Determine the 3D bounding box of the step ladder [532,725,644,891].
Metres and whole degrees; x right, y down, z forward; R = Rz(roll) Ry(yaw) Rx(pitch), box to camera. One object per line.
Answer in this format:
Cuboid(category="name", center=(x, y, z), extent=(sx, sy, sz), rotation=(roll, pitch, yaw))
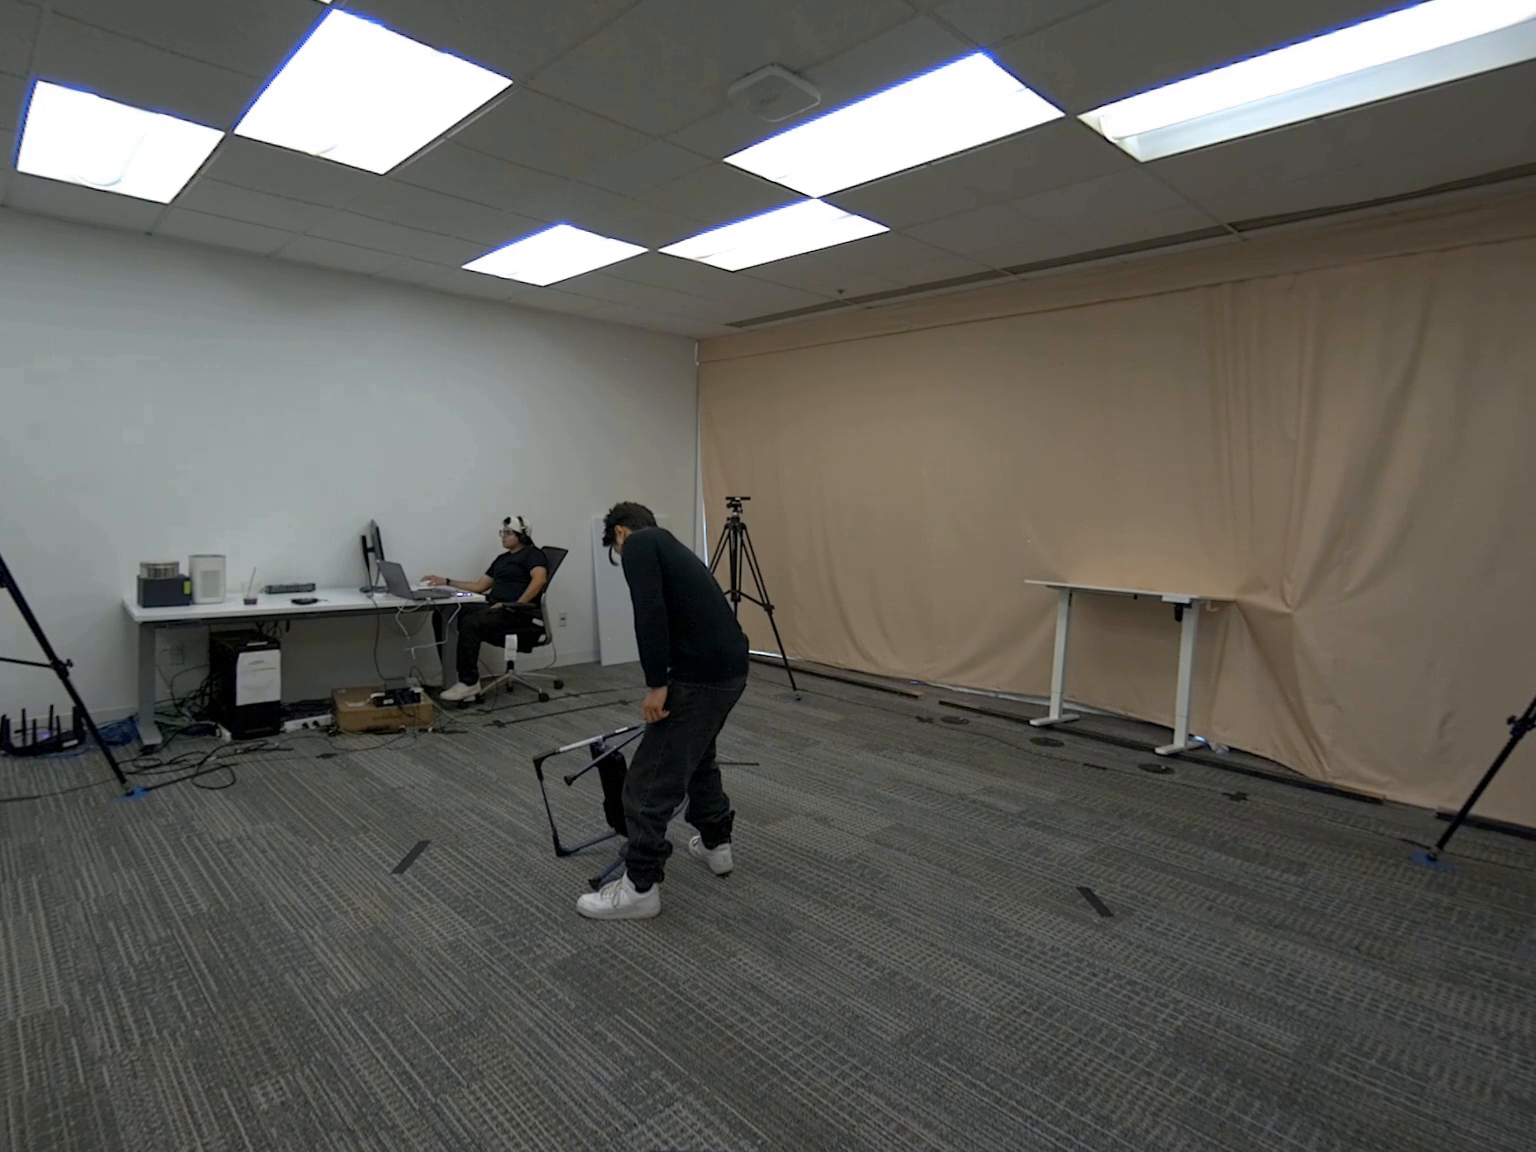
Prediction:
Cuboid(category="step ladder", center=(-0.532, 0.812, 3.237), extent=(0.597, 0.427, 0.357), rotation=(-18, 13, -34))
